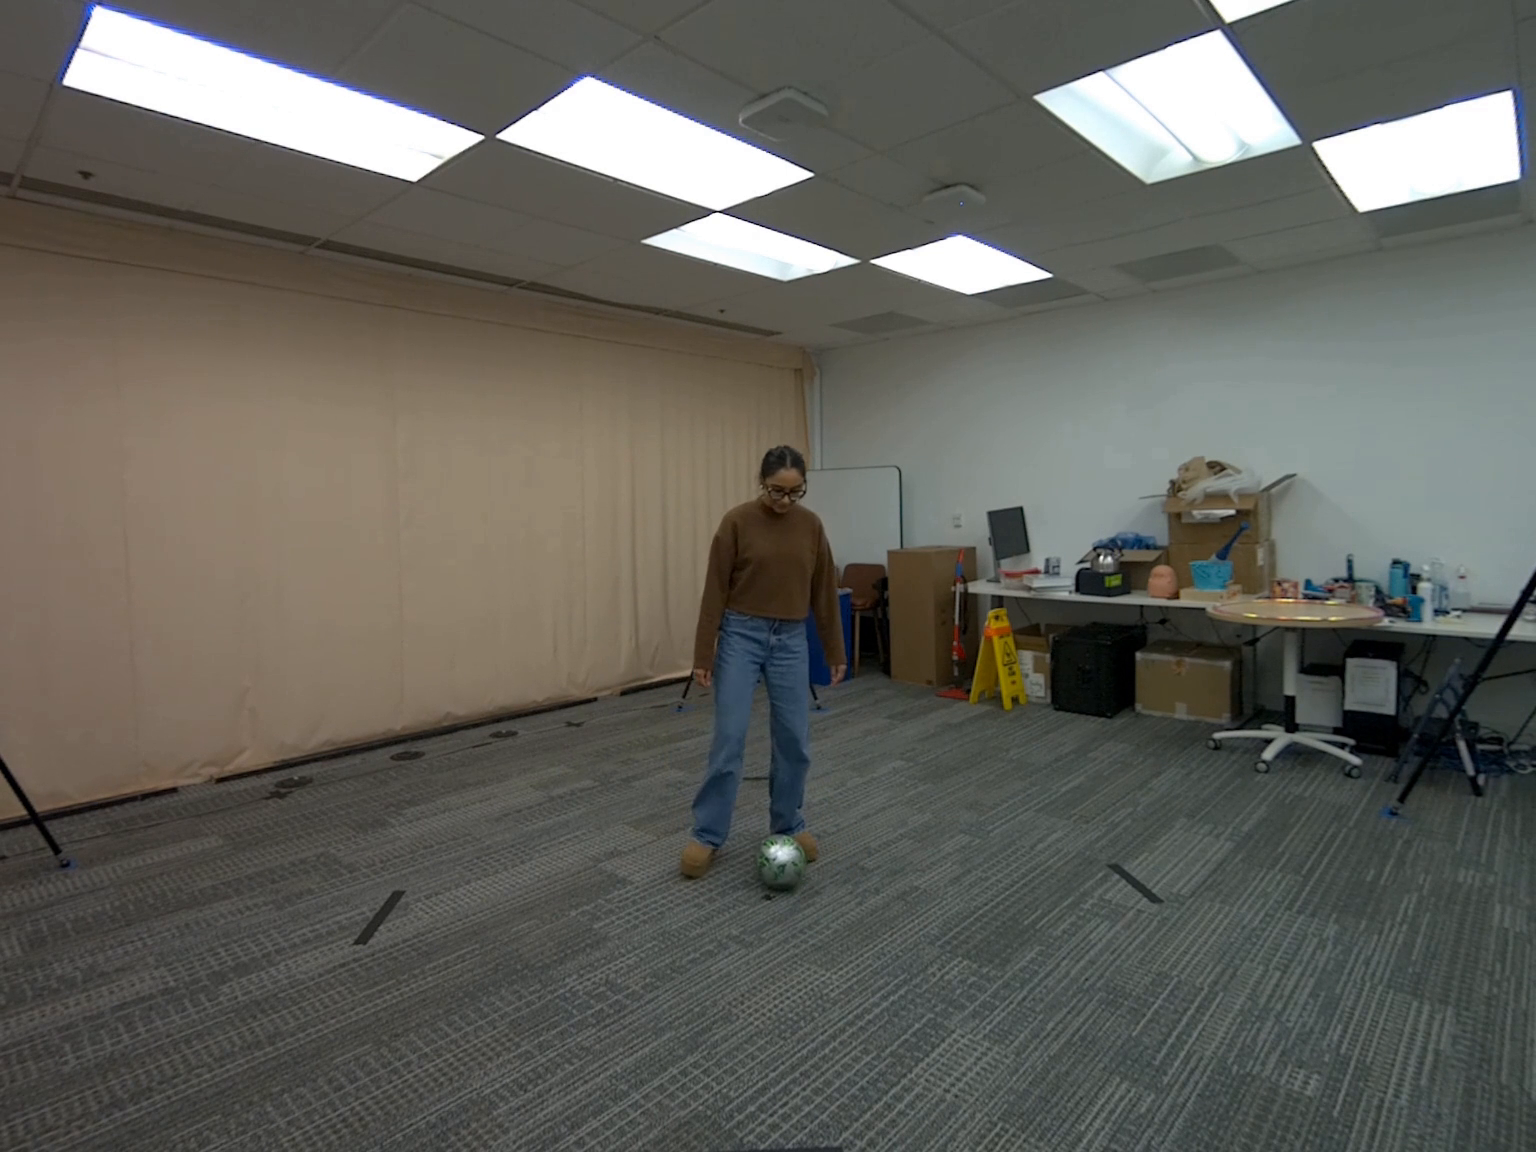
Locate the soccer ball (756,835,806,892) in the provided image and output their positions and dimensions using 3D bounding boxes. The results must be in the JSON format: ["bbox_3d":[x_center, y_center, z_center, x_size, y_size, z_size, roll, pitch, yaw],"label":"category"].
[{"bbox_3d":[0.042,1.032,3.057,0.187,0.187,0.188,-1,4,-2],"label":"soccer ball"}]
